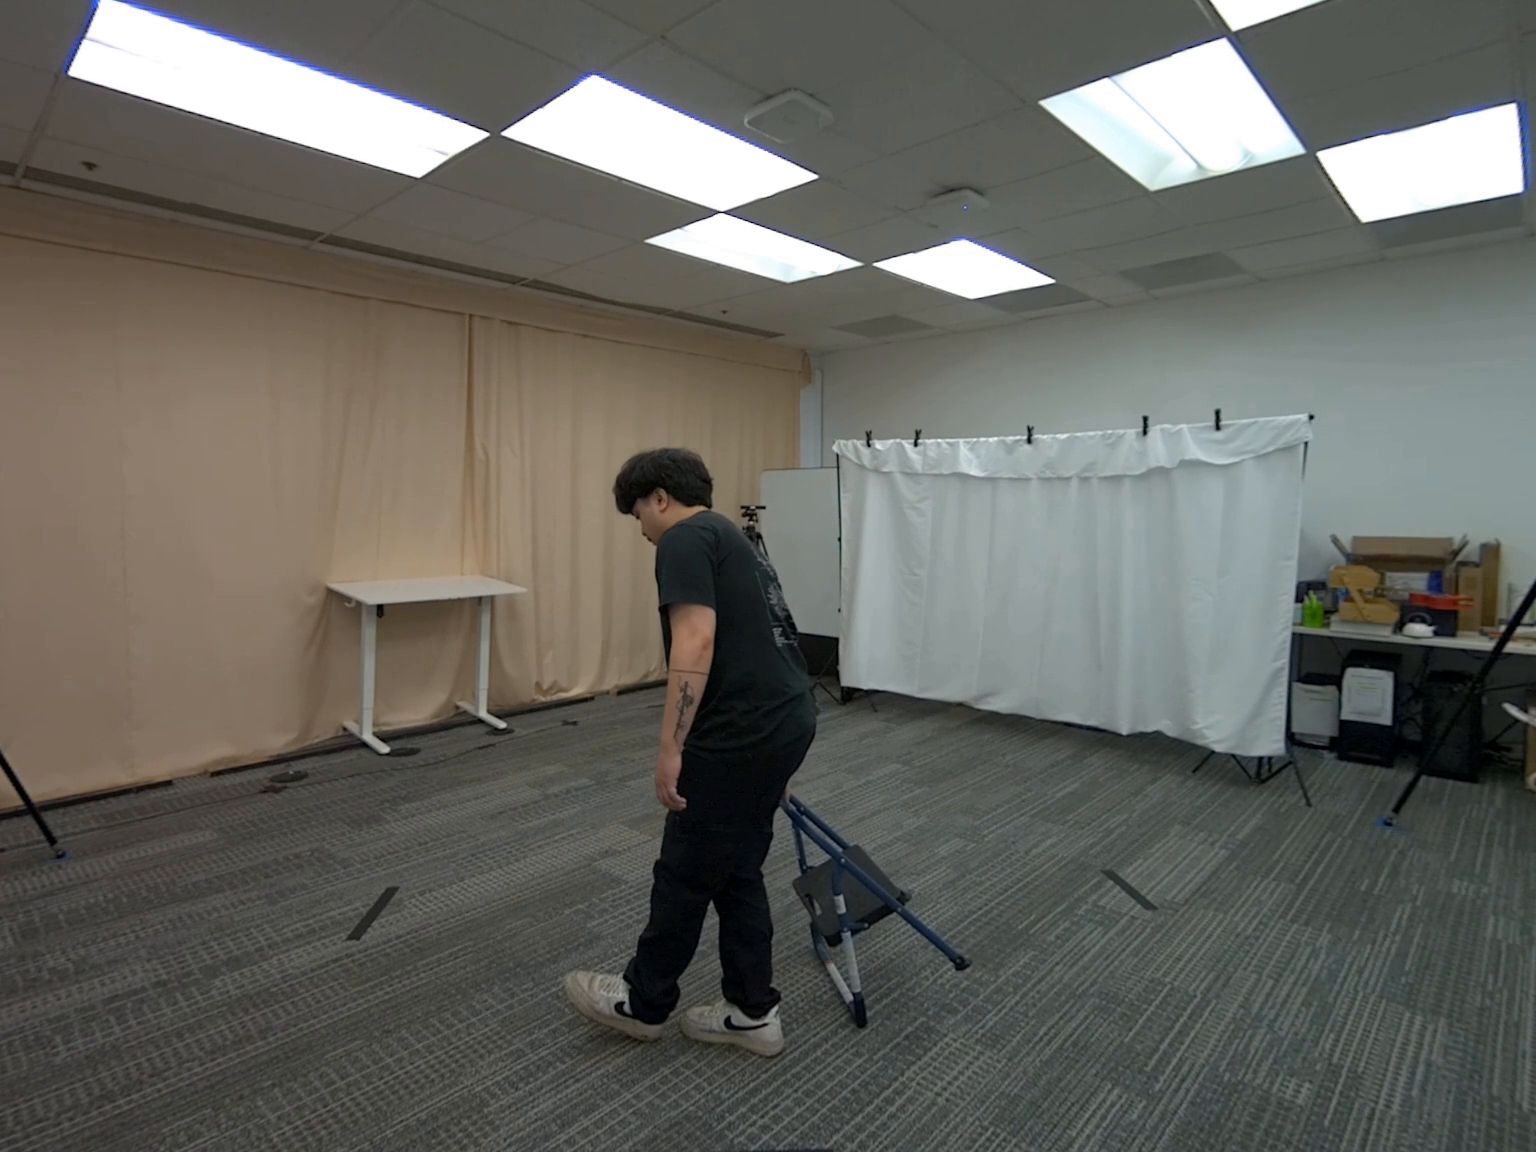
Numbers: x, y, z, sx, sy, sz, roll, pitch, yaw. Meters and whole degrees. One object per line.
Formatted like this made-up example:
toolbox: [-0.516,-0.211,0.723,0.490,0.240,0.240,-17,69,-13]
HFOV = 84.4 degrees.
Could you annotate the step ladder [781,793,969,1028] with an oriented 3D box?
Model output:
step ladder: [0.220,0.852,2.423,0.347,0.601,0.437,-27,8,-10]
